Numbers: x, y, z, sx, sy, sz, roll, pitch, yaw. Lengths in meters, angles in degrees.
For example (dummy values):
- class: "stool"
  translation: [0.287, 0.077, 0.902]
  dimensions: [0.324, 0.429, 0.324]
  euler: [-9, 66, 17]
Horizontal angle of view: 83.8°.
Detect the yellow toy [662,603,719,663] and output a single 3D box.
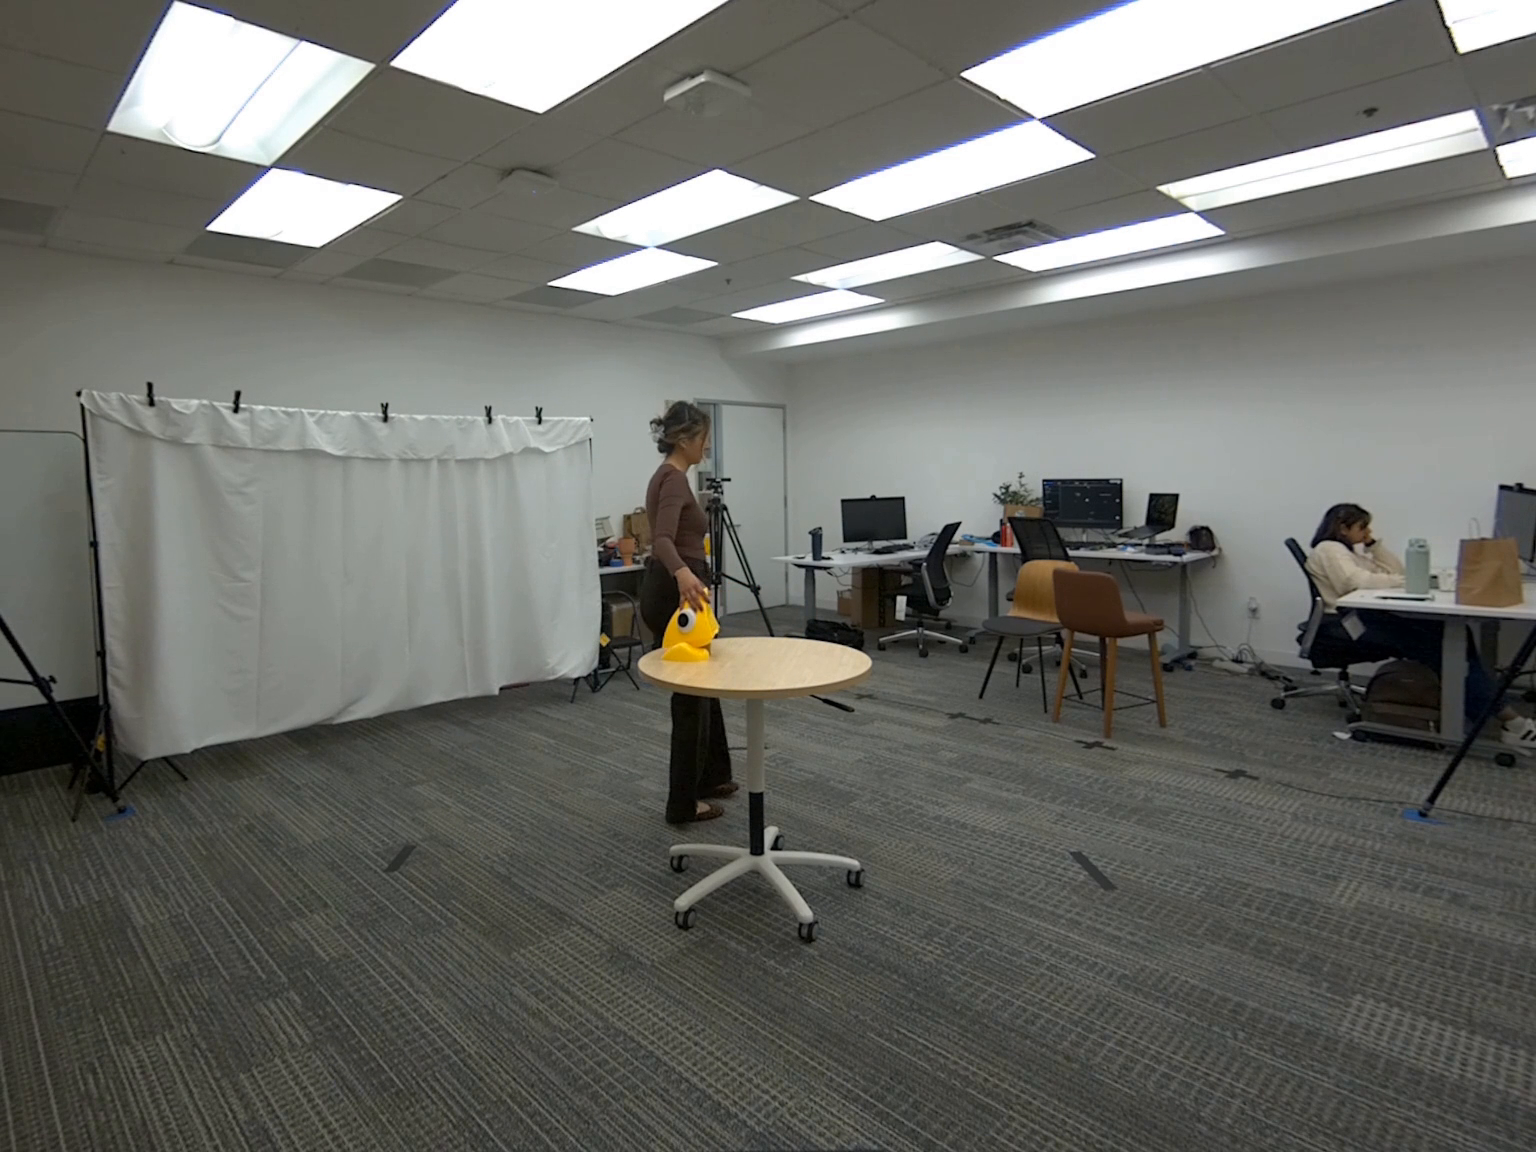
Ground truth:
- class: "yellow toy"
  translation: [-0.264, 0.158, 2.905]
  dimensions: [0.194, 0.230, 0.204]
  euler: [0, 5, 4]
